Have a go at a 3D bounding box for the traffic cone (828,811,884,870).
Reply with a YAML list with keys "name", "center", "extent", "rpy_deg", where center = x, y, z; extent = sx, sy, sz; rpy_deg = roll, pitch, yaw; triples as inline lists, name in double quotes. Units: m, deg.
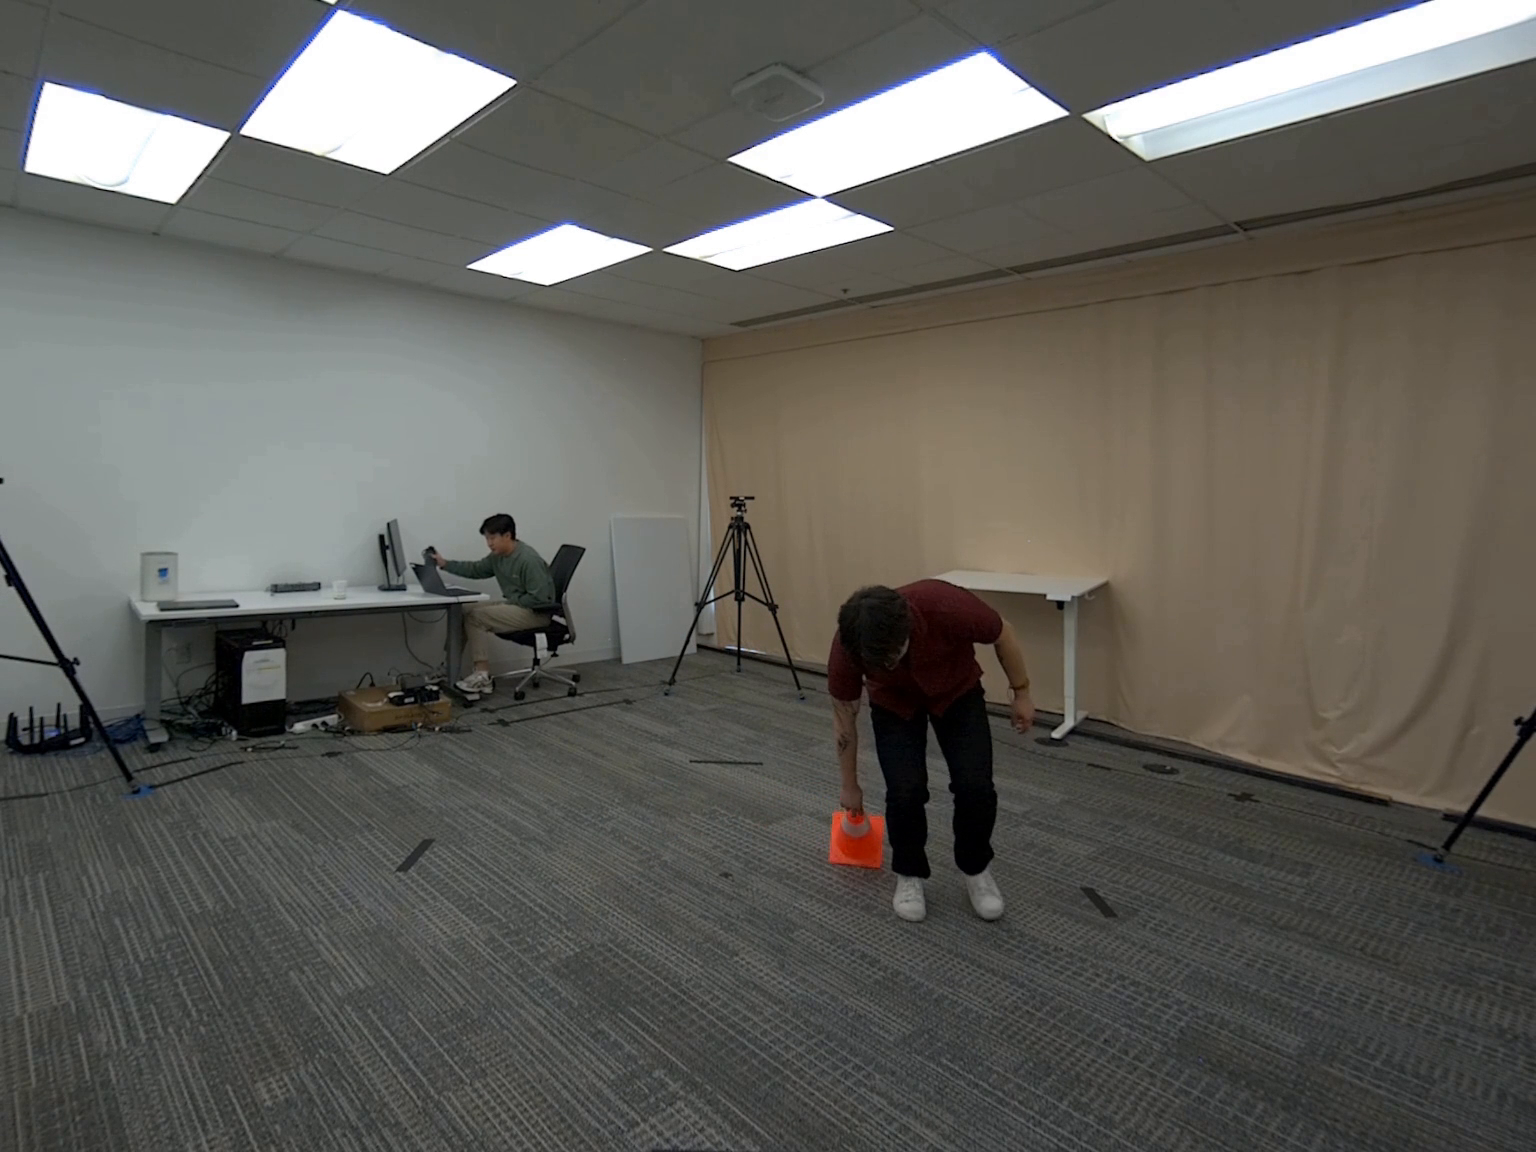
- name: "traffic cone"
  center: [0.325, 0.919, 3.109]
  extent: [0.207, 0.206, 0.375]
  rpy_deg: [7, -34, 9]
